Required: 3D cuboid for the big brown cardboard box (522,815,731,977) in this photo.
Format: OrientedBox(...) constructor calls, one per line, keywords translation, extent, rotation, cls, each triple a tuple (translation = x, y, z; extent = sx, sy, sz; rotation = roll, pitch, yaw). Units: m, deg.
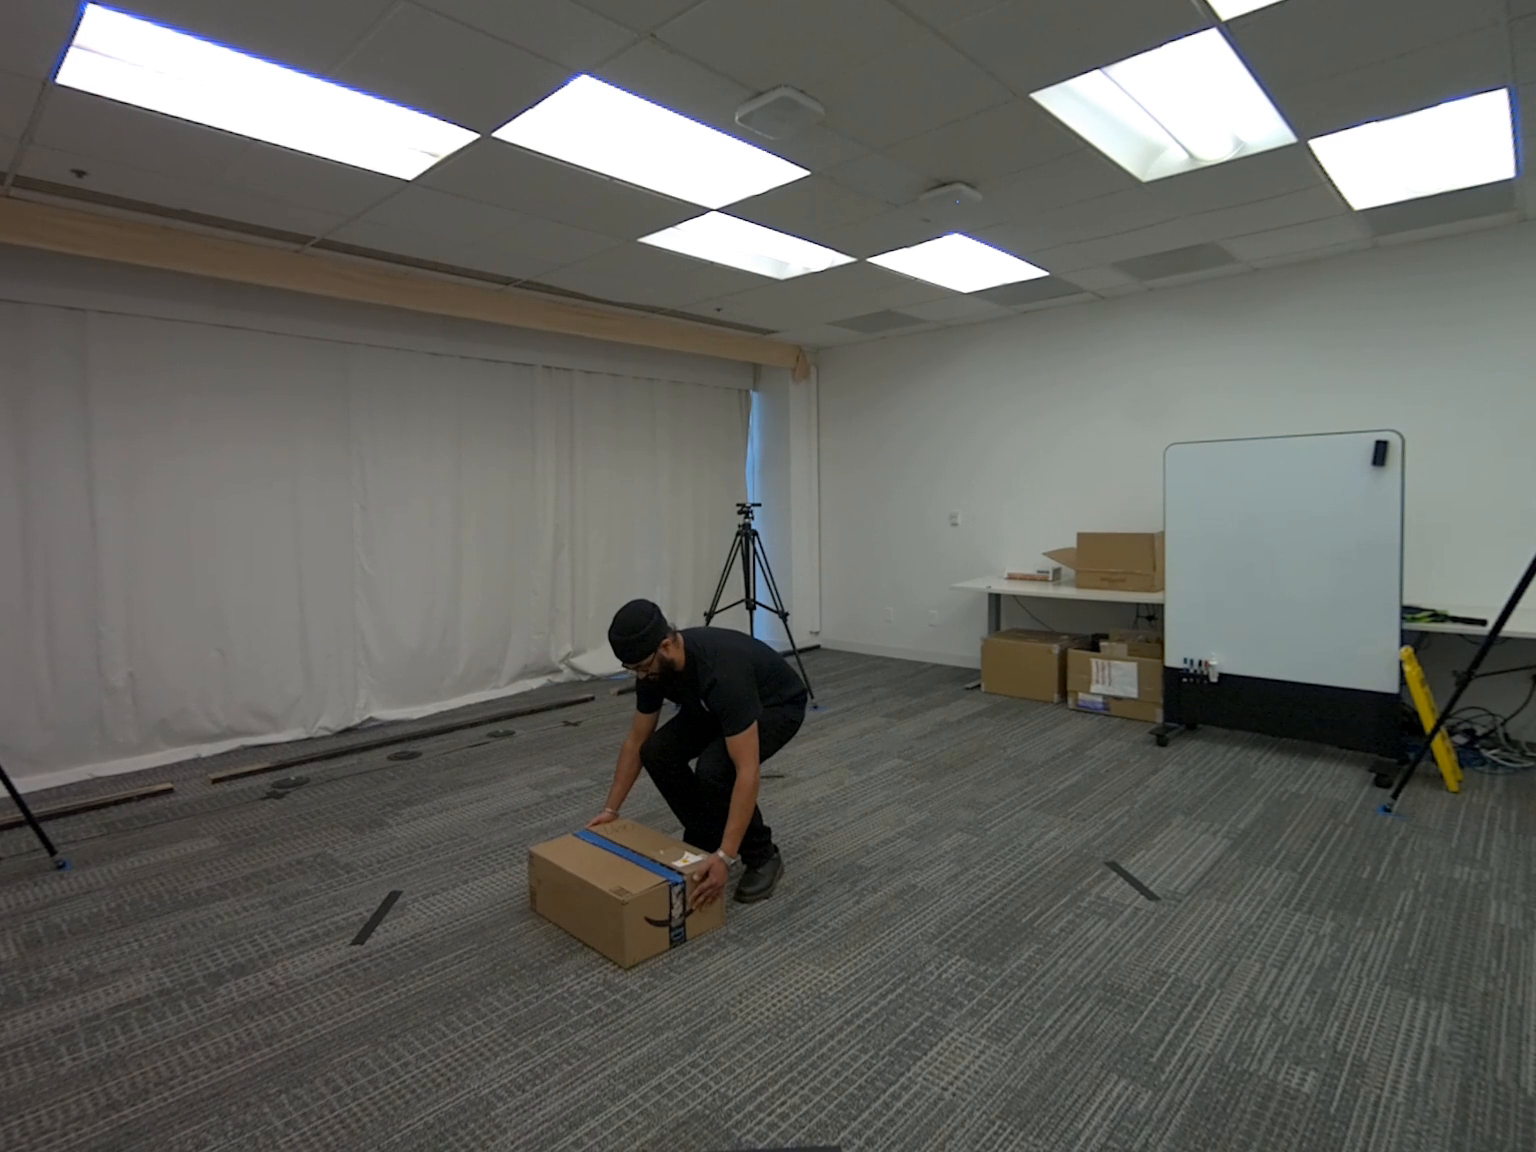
OrientedBox(translation=(-0.487, 1.046, 2.861), extent=(0.608, 0.233, 0.405), rotation=(1, 5, 45), cls="big brown cardboard box")
